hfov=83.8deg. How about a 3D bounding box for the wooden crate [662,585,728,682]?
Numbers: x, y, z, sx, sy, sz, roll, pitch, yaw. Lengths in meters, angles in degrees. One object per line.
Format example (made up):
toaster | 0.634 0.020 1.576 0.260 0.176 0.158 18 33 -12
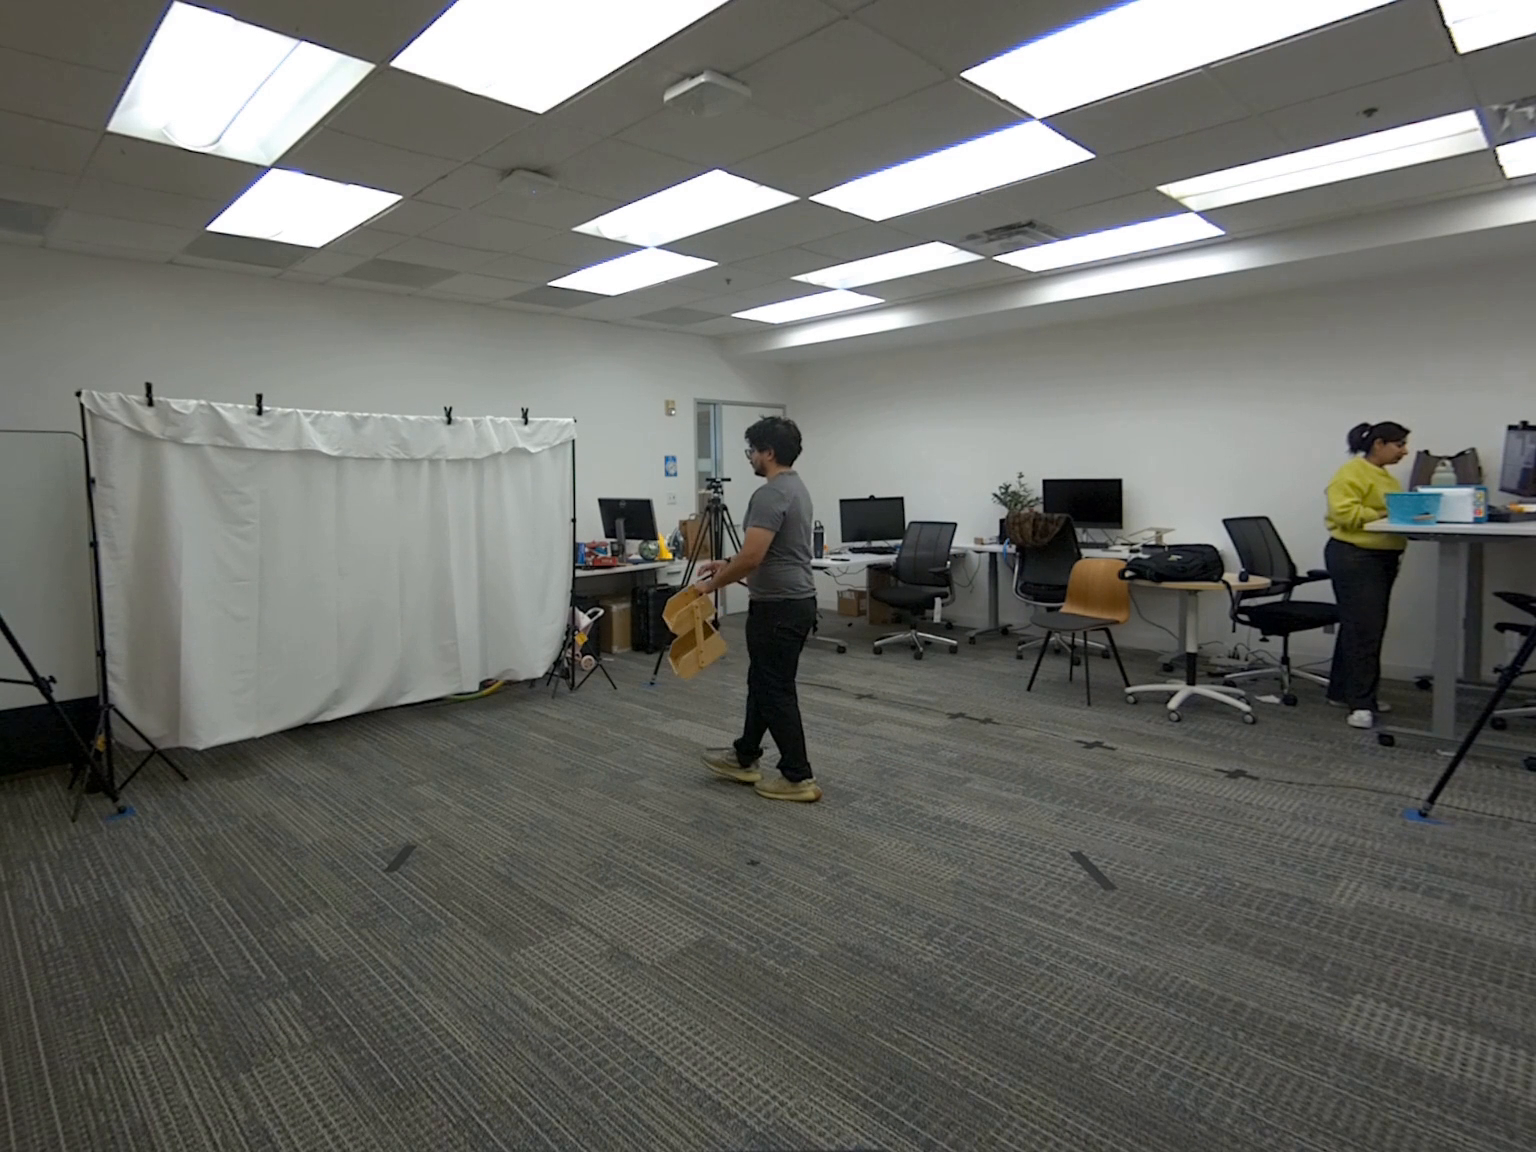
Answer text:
wooden crate | -0.356 0.240 3.753 0.301 0.269 0.330 -35 14 -5
